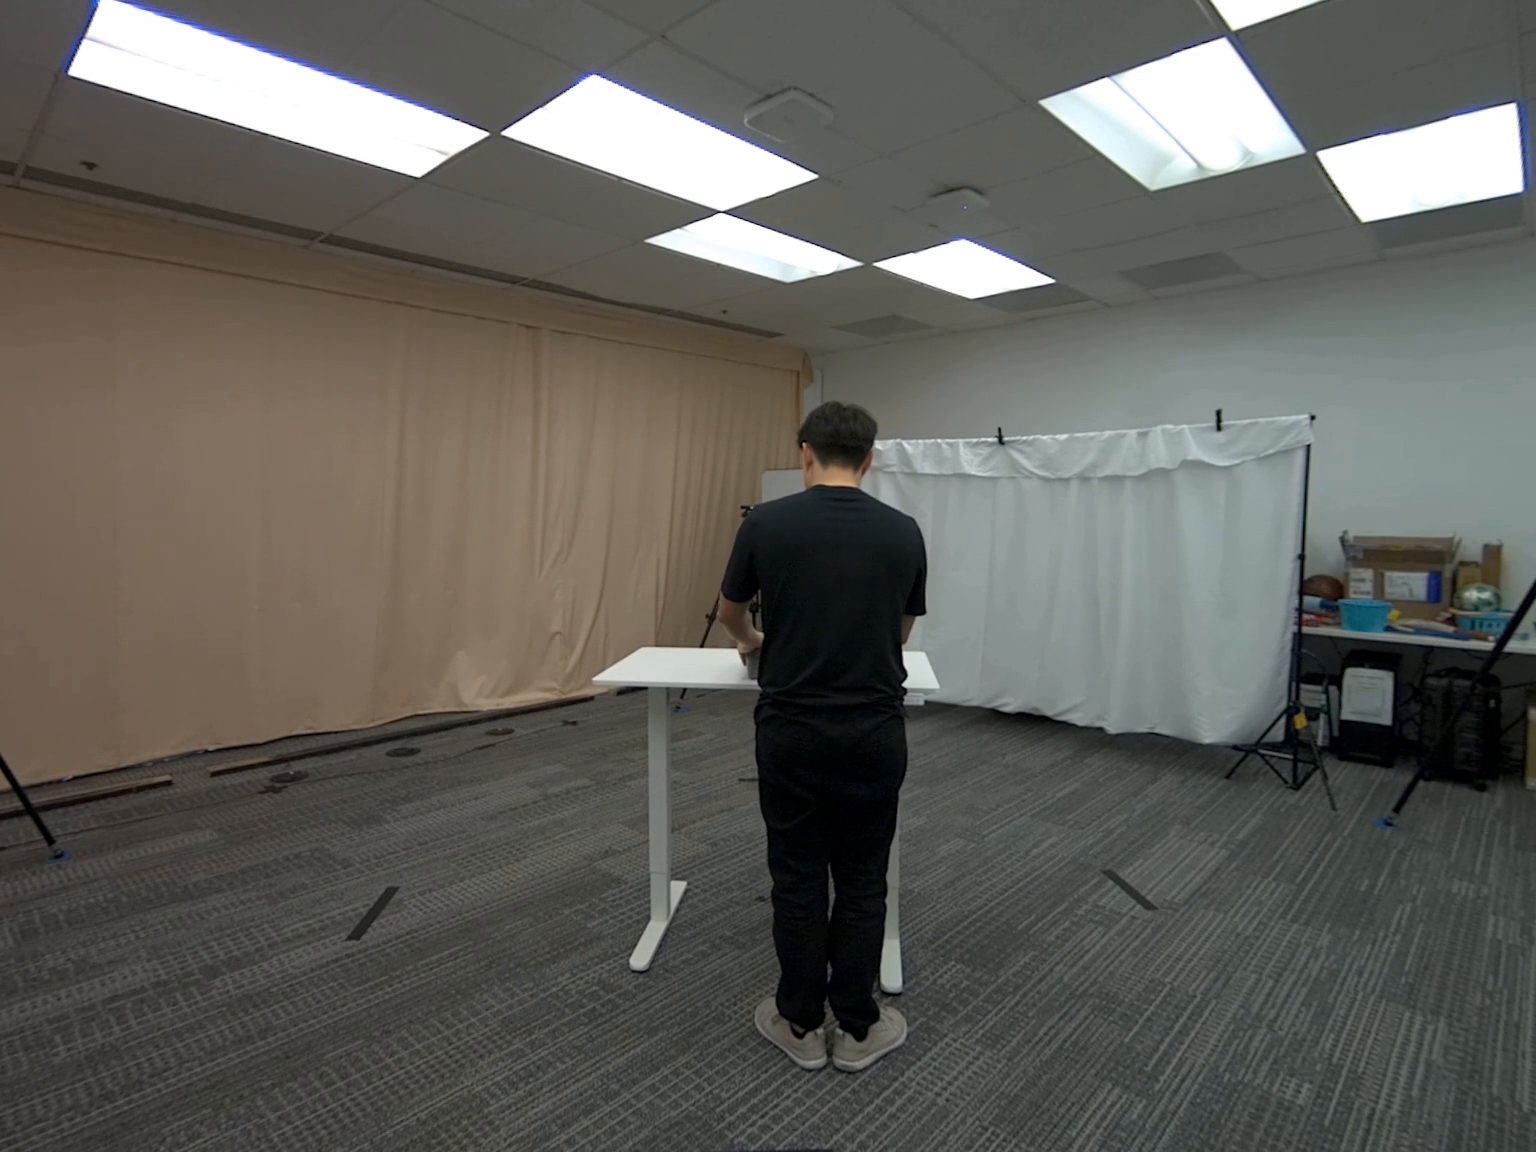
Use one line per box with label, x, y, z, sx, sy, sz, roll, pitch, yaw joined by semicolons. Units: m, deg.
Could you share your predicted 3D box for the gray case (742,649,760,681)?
gray case;0.067;0.245;2.582;0.257;0.104;0.261;-1;5;0
